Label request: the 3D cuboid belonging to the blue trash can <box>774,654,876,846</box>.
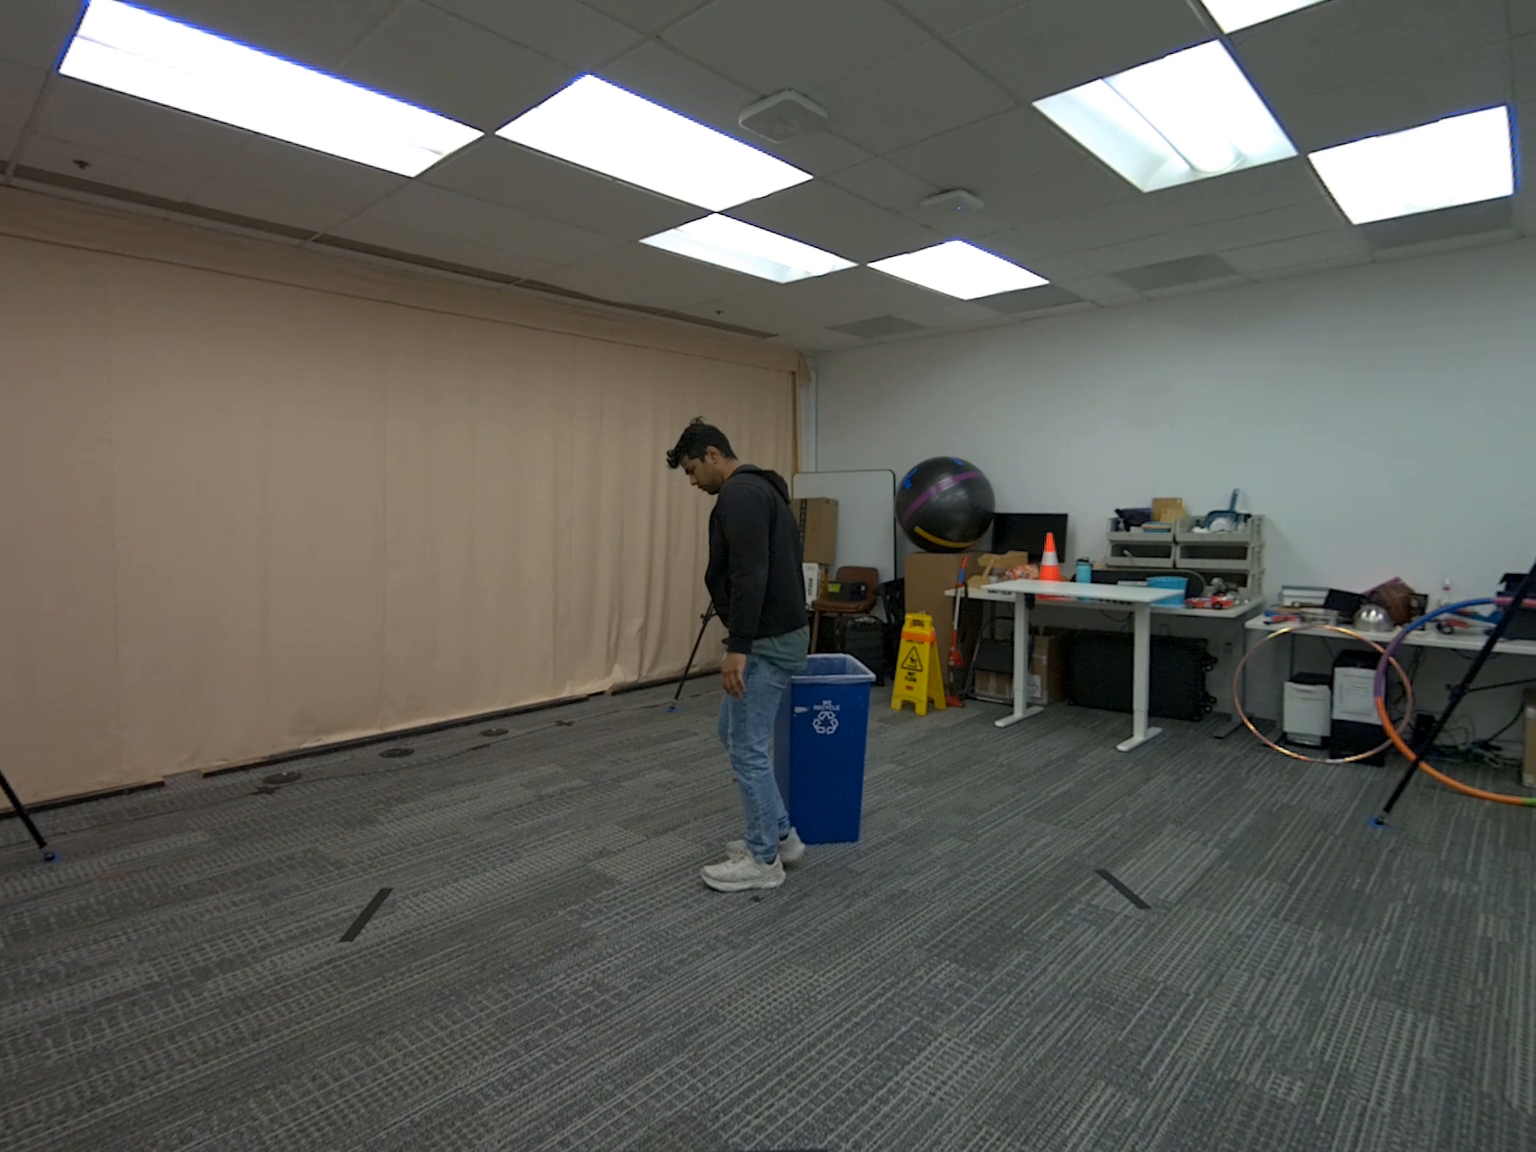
[{"bbox_3d":[0.224,0.730,3.569,0.374,0.711,0.380,1,6,-11],"label":"blue trash can"}]
